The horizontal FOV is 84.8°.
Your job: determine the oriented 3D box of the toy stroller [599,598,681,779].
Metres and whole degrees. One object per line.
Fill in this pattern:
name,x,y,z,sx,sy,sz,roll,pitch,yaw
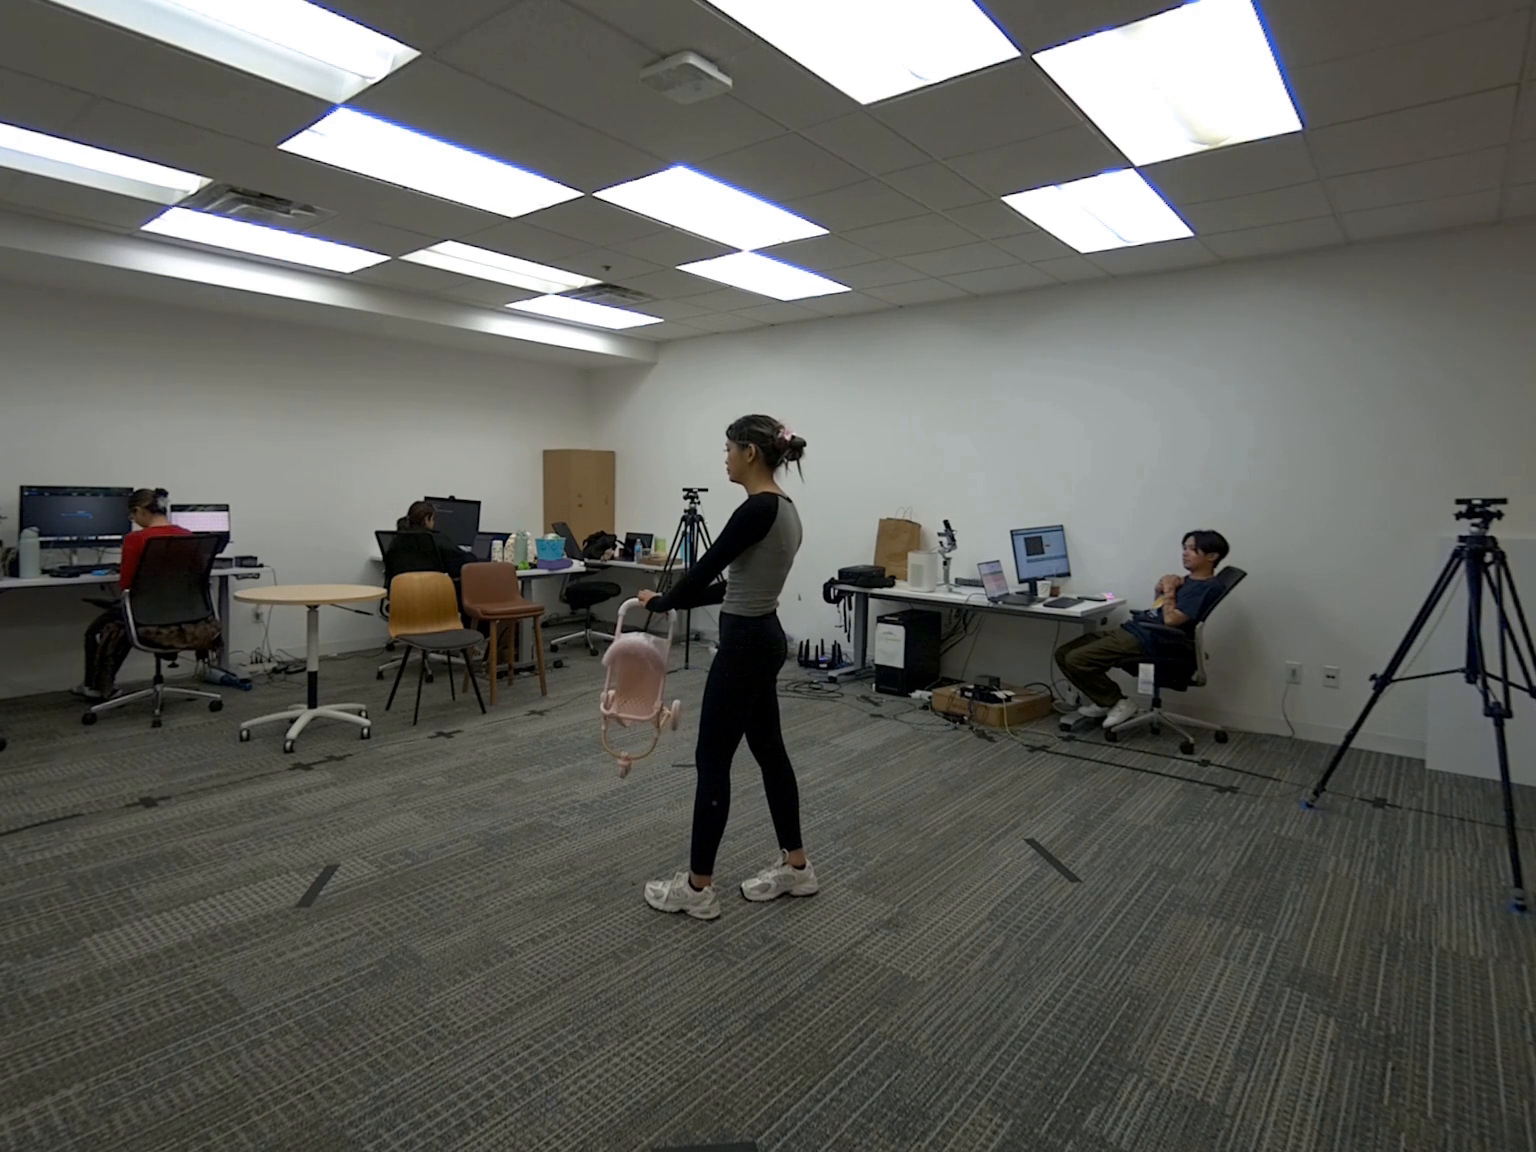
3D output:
toy stroller,-0.471,0.396,2.951,0.285,0.525,0.343,10,23,10
